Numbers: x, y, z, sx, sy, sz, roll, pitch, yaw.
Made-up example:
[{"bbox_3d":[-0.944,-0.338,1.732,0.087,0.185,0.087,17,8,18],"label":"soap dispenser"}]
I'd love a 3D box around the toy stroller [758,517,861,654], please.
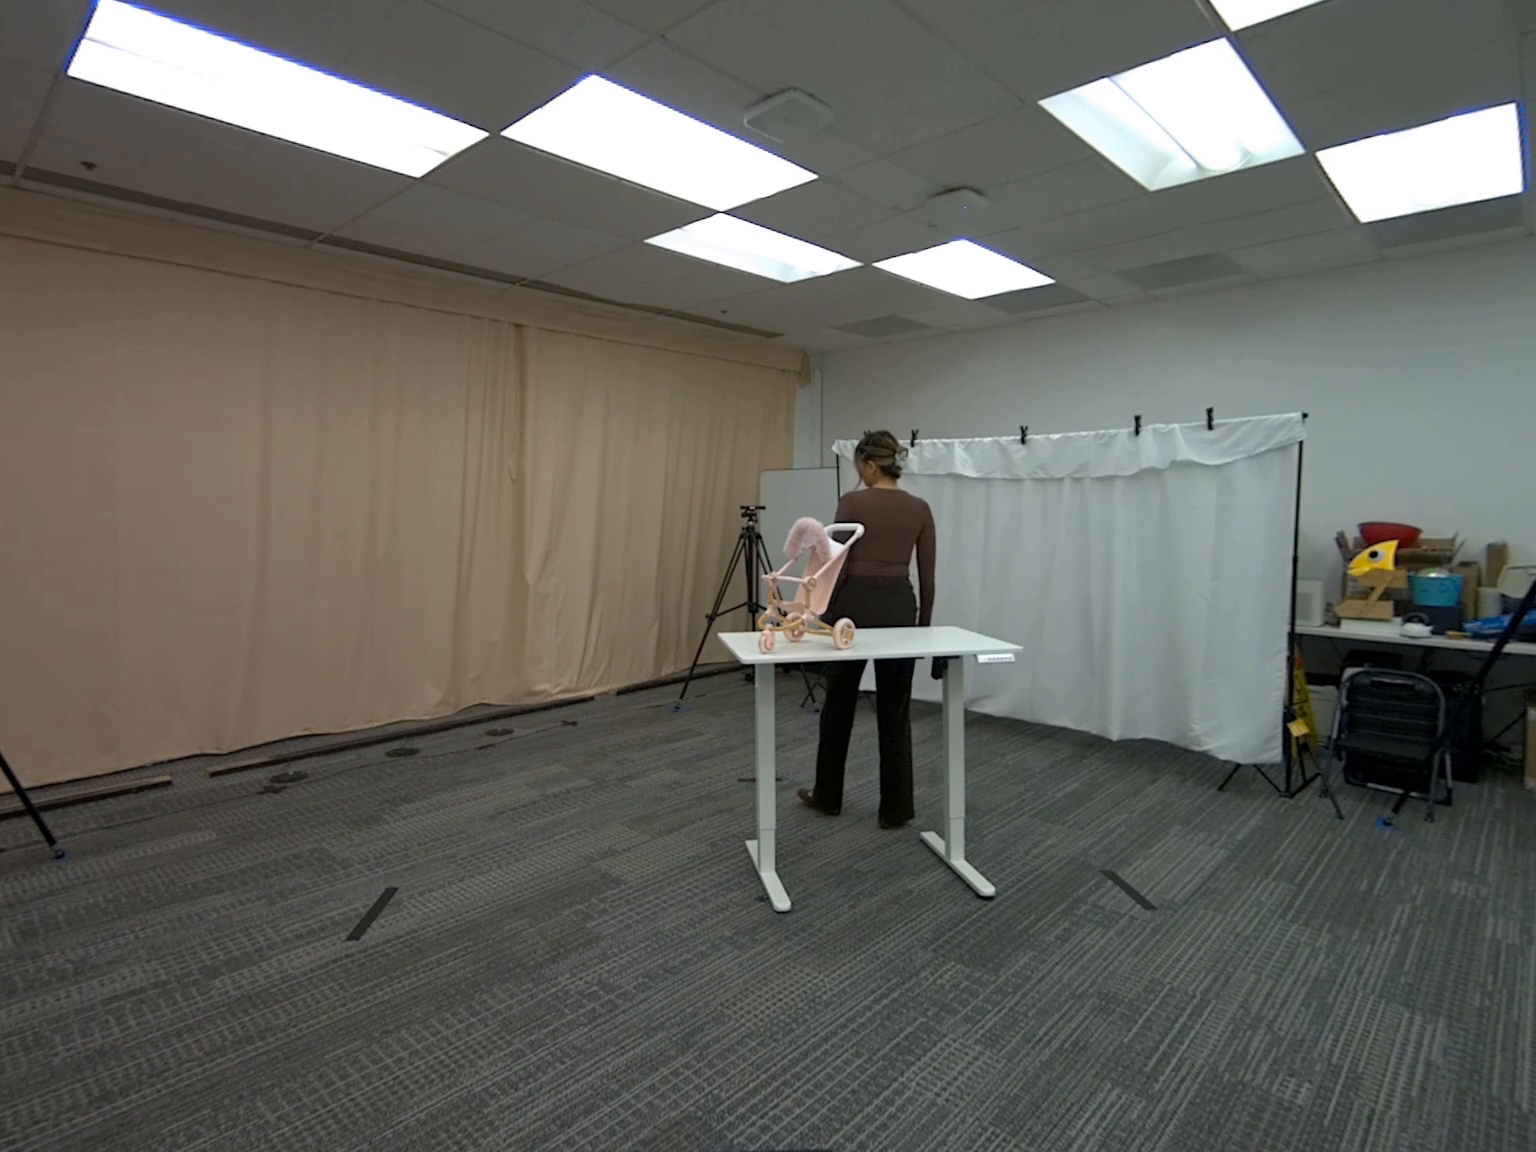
[{"bbox_3d":[0.137,0.031,3.028,0.330,0.536,0.290,16,-8,-37],"label":"toy stroller"}]
